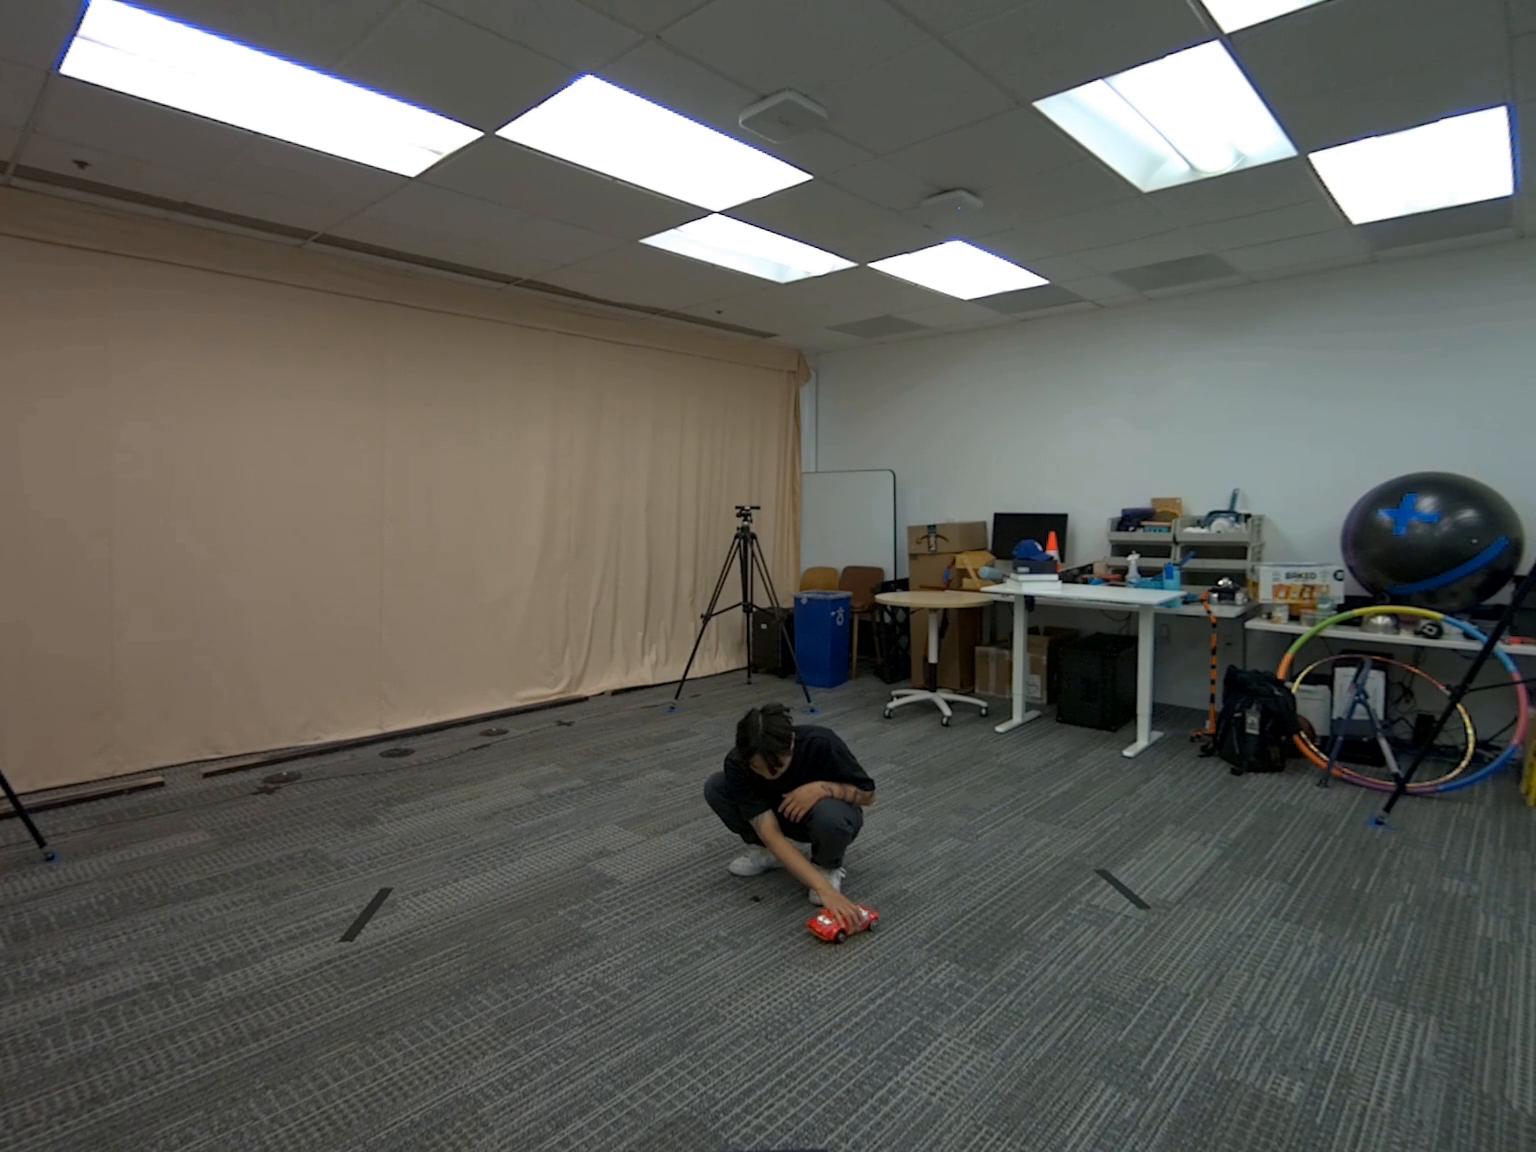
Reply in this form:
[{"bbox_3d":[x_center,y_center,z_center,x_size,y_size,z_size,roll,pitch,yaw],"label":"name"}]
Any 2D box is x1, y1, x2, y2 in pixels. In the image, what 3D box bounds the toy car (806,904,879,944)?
[{"bbox_3d":[0.227,1.126,2.744,0.246,0.083,0.134,9,-1,-33],"label":"toy car"}]
